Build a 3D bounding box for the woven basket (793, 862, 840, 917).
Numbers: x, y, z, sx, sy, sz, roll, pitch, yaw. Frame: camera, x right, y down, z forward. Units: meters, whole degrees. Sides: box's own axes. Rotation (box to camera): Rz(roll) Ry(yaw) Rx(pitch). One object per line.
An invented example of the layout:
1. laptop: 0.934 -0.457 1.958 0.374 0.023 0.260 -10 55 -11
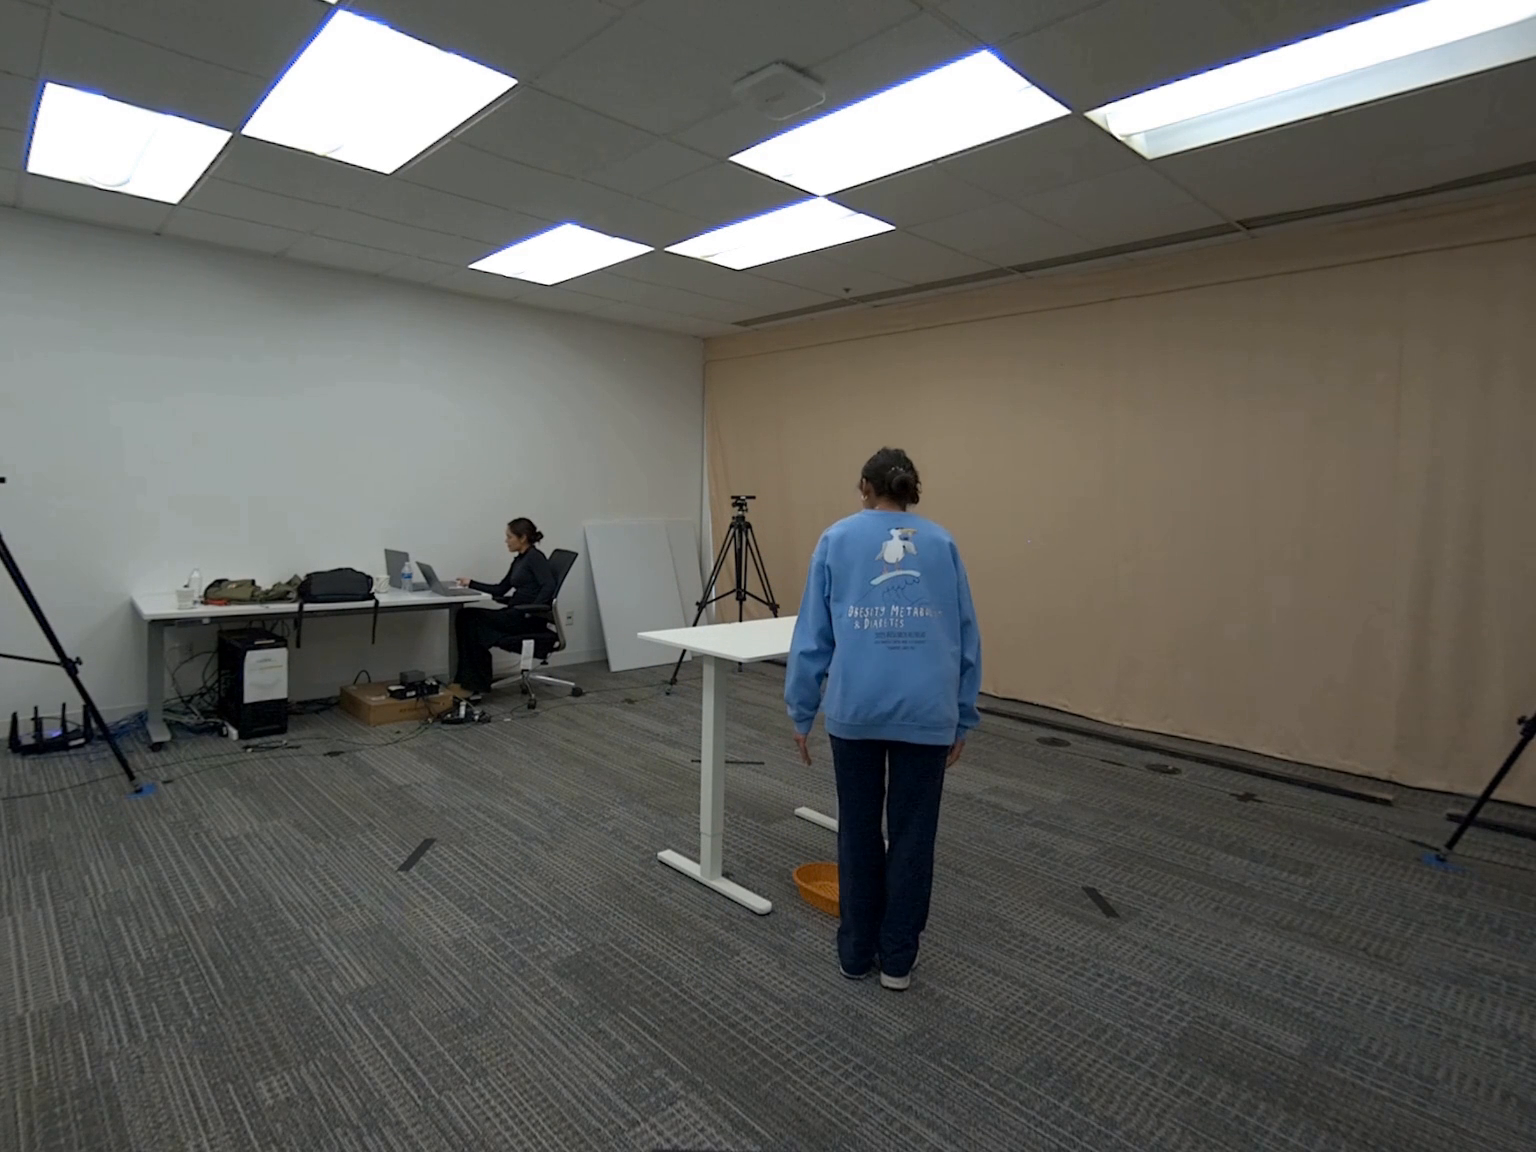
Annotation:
1. woven basket: 0.232 1.083 2.913 0.246 0.073 0.359 -2 6 -42
